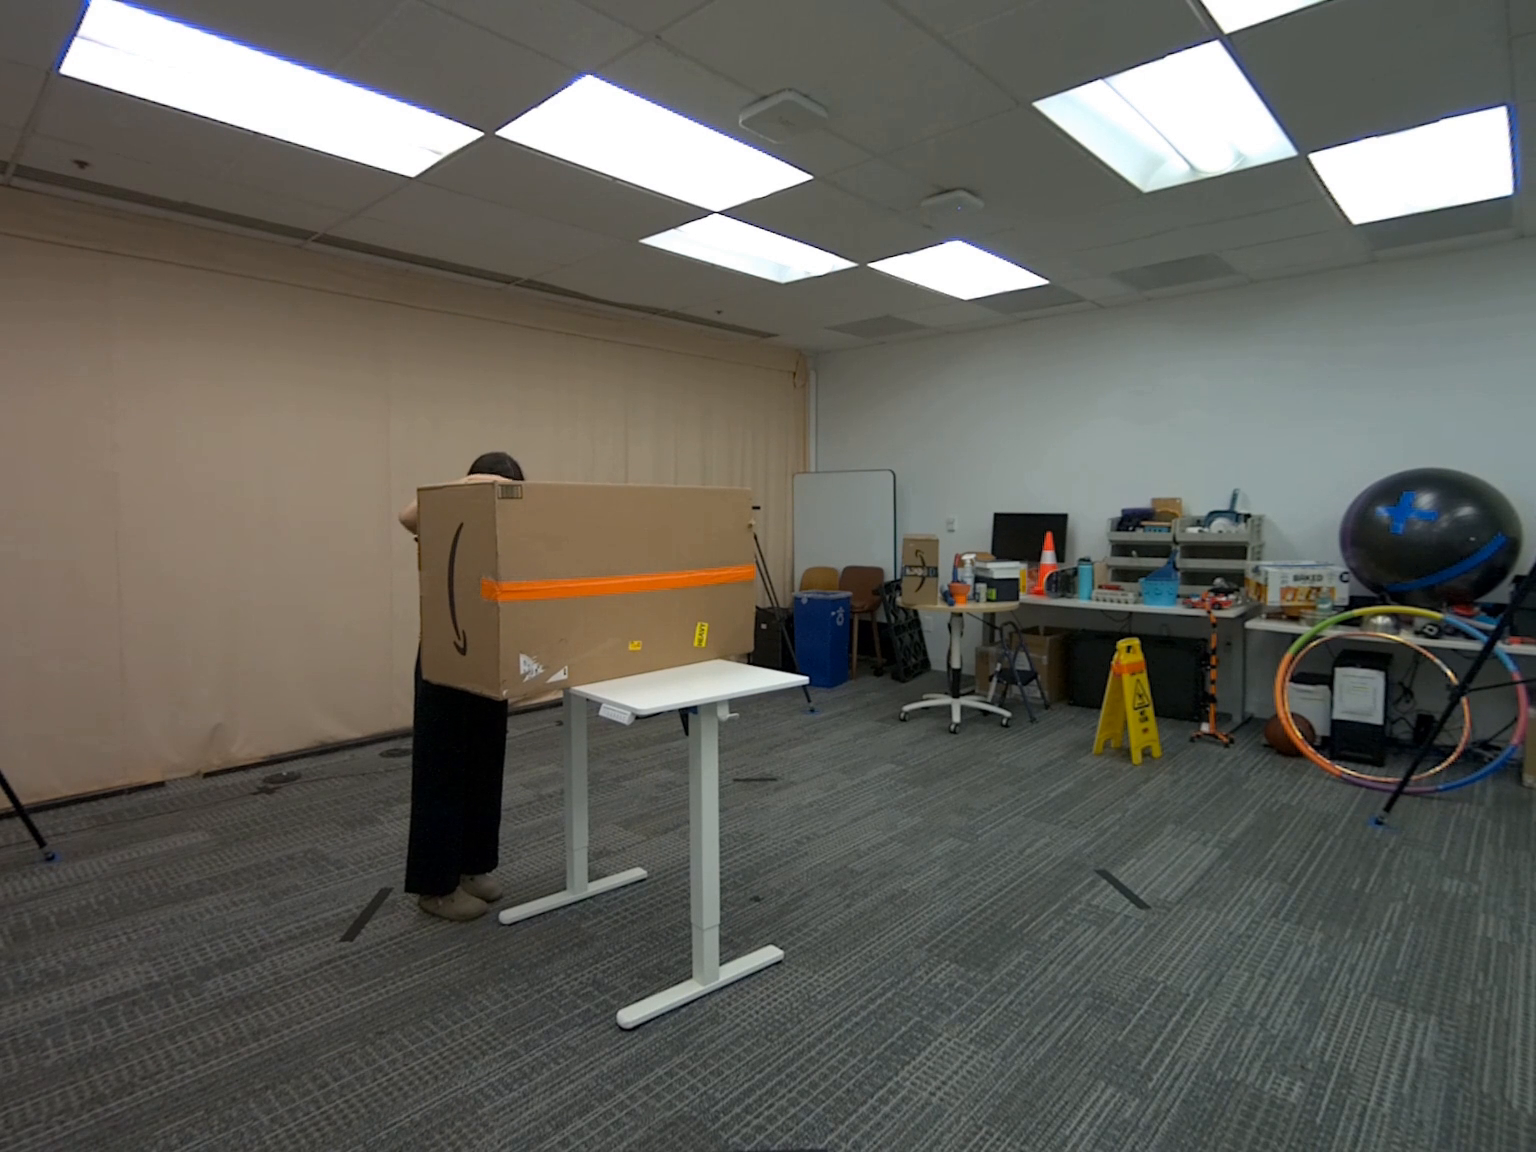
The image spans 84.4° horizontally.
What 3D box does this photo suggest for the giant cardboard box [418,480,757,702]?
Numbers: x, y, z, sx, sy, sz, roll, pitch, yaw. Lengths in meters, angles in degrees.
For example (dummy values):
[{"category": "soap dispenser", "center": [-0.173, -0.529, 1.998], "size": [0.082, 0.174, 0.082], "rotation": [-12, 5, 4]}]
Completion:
[{"category": "giant cardboard box", "center": [-0.532, 0.001, 2.701], "size": [0.440, 0.576, 0.994], "rotation": [3, 5, 42]}]
